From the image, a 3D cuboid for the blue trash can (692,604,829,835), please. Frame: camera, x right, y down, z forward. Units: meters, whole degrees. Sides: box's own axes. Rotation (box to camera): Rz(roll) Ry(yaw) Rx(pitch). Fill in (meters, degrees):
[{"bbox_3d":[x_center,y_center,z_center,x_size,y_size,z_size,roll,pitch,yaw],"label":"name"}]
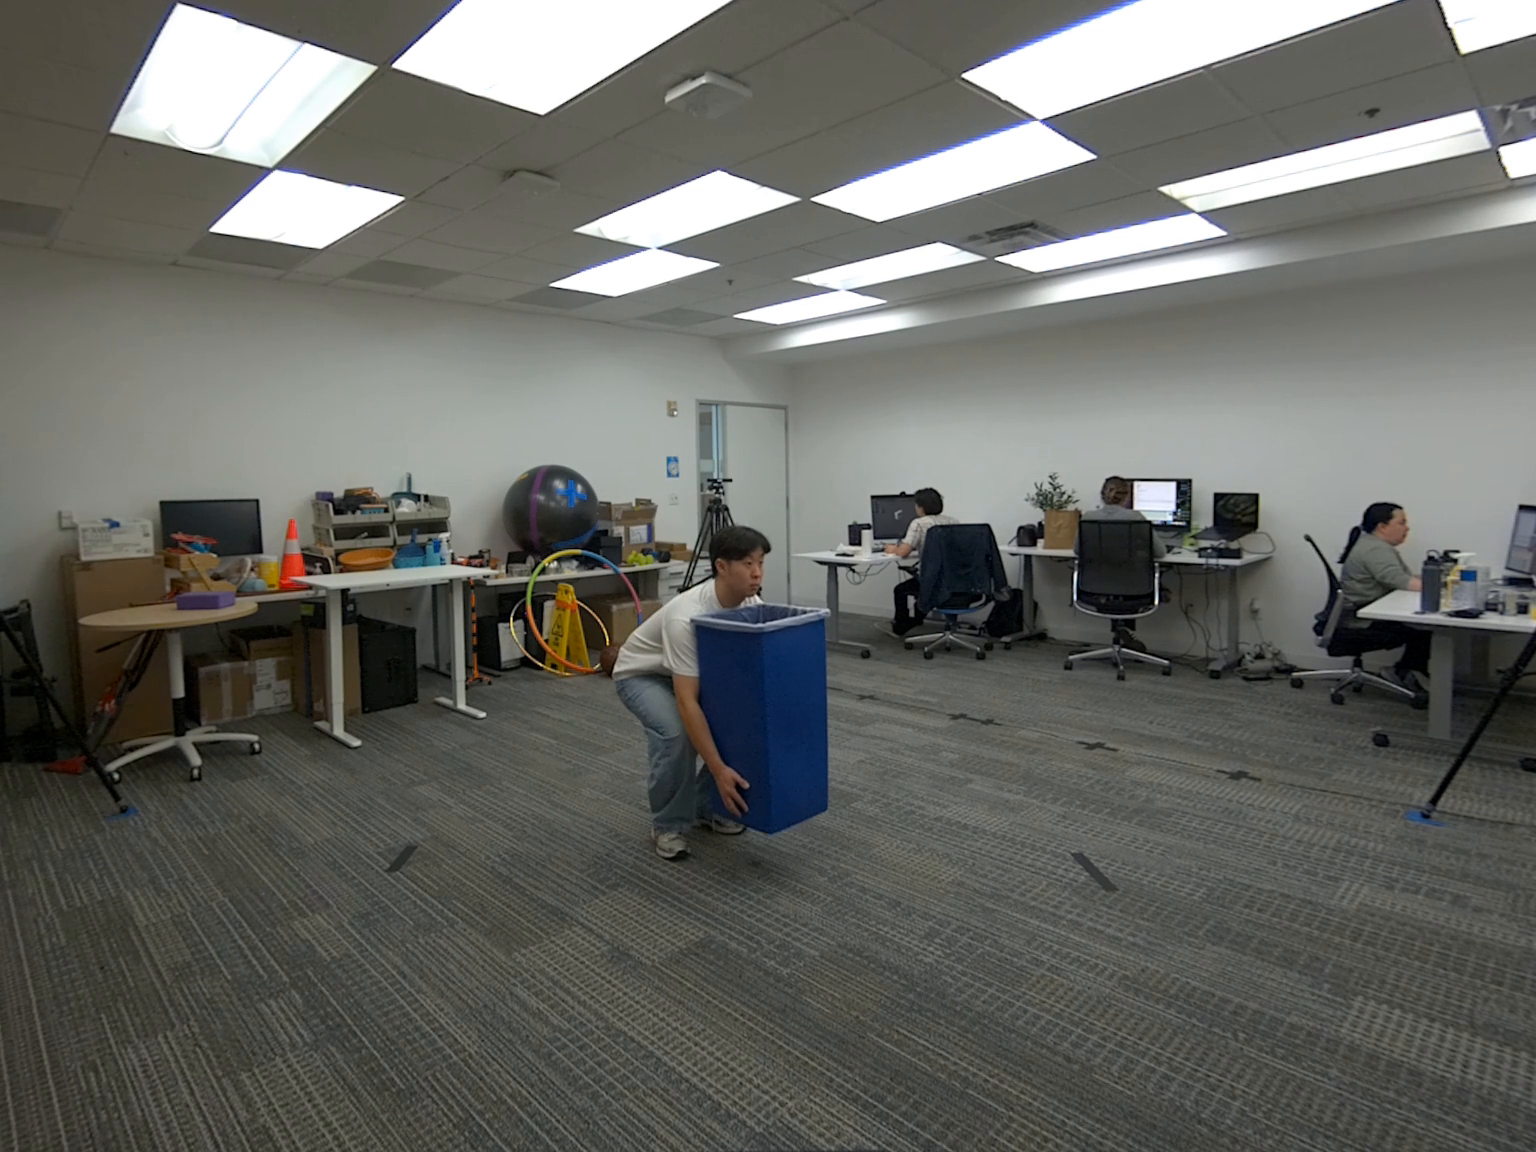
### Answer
[{"bbox_3d":[-0.004,0.479,3.008,0.364,0.711,0.389,-6,5,-44],"label":"blue trash can"}]
